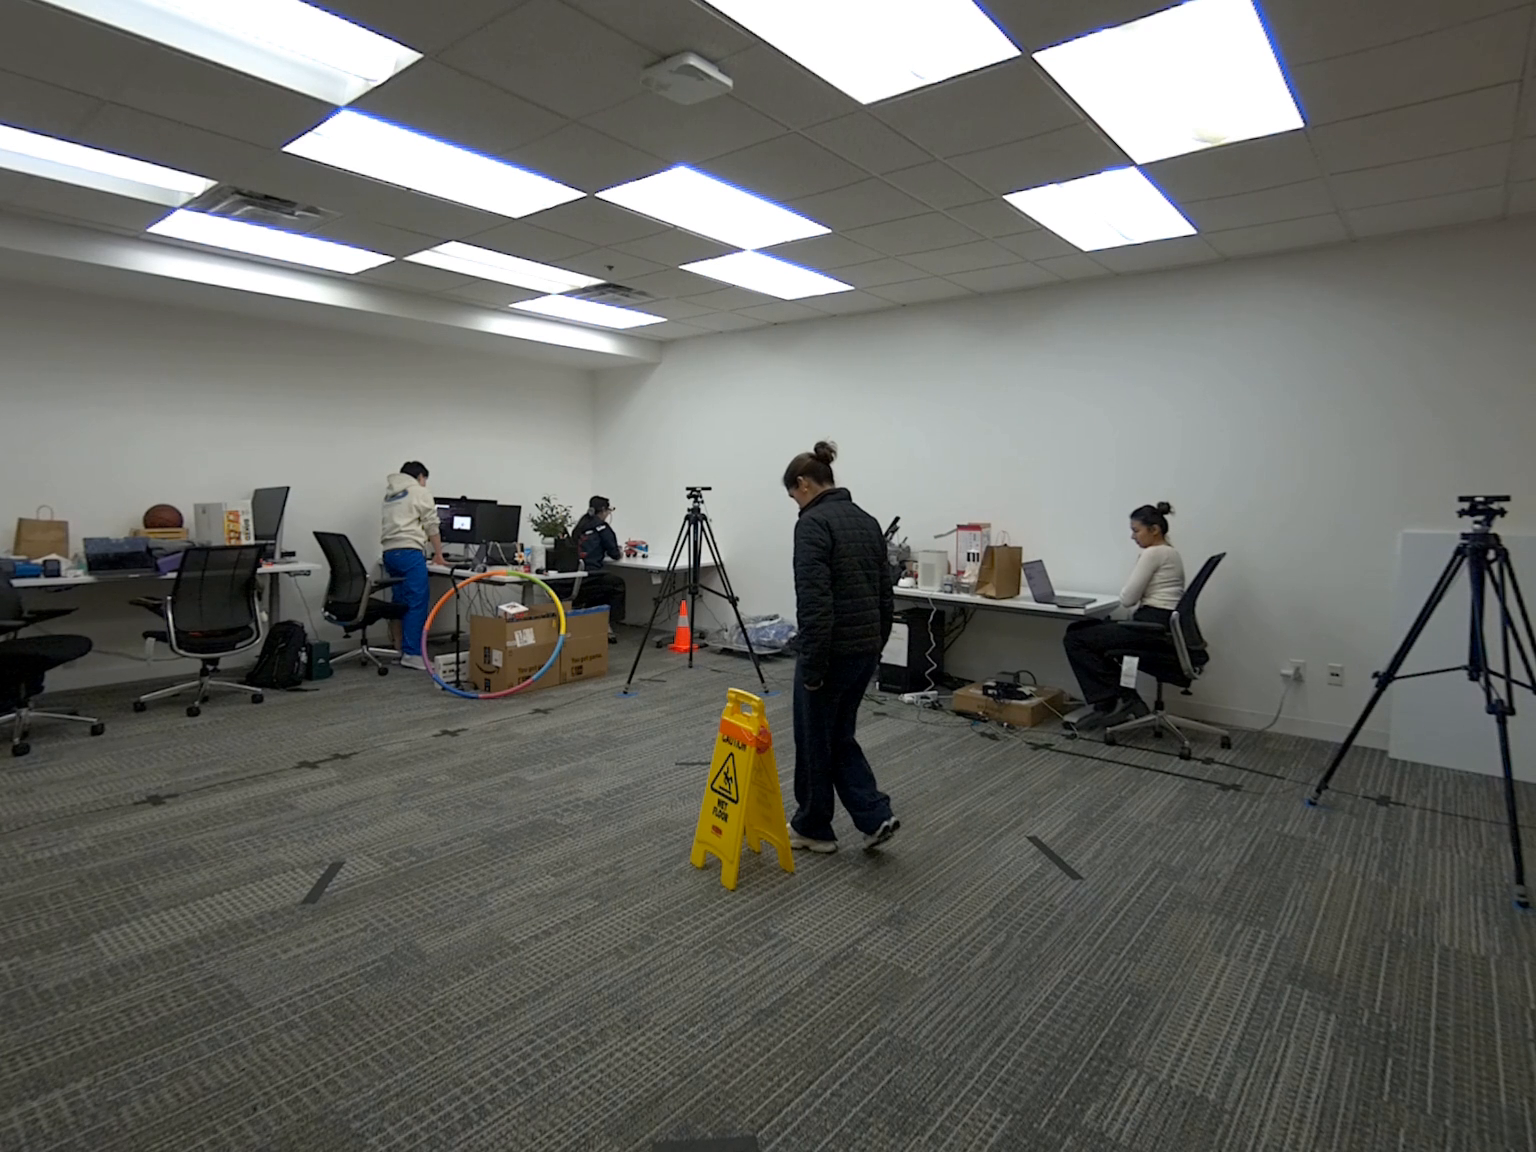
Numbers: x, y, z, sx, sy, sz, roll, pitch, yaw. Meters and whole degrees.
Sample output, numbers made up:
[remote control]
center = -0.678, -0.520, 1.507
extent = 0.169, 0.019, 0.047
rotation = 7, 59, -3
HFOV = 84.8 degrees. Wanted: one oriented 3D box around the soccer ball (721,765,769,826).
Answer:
[soccer ball]
center = -0.100, 0.920, 3.539
extent = 0.187, 0.187, 0.188
rotation = 1, 4, -2
